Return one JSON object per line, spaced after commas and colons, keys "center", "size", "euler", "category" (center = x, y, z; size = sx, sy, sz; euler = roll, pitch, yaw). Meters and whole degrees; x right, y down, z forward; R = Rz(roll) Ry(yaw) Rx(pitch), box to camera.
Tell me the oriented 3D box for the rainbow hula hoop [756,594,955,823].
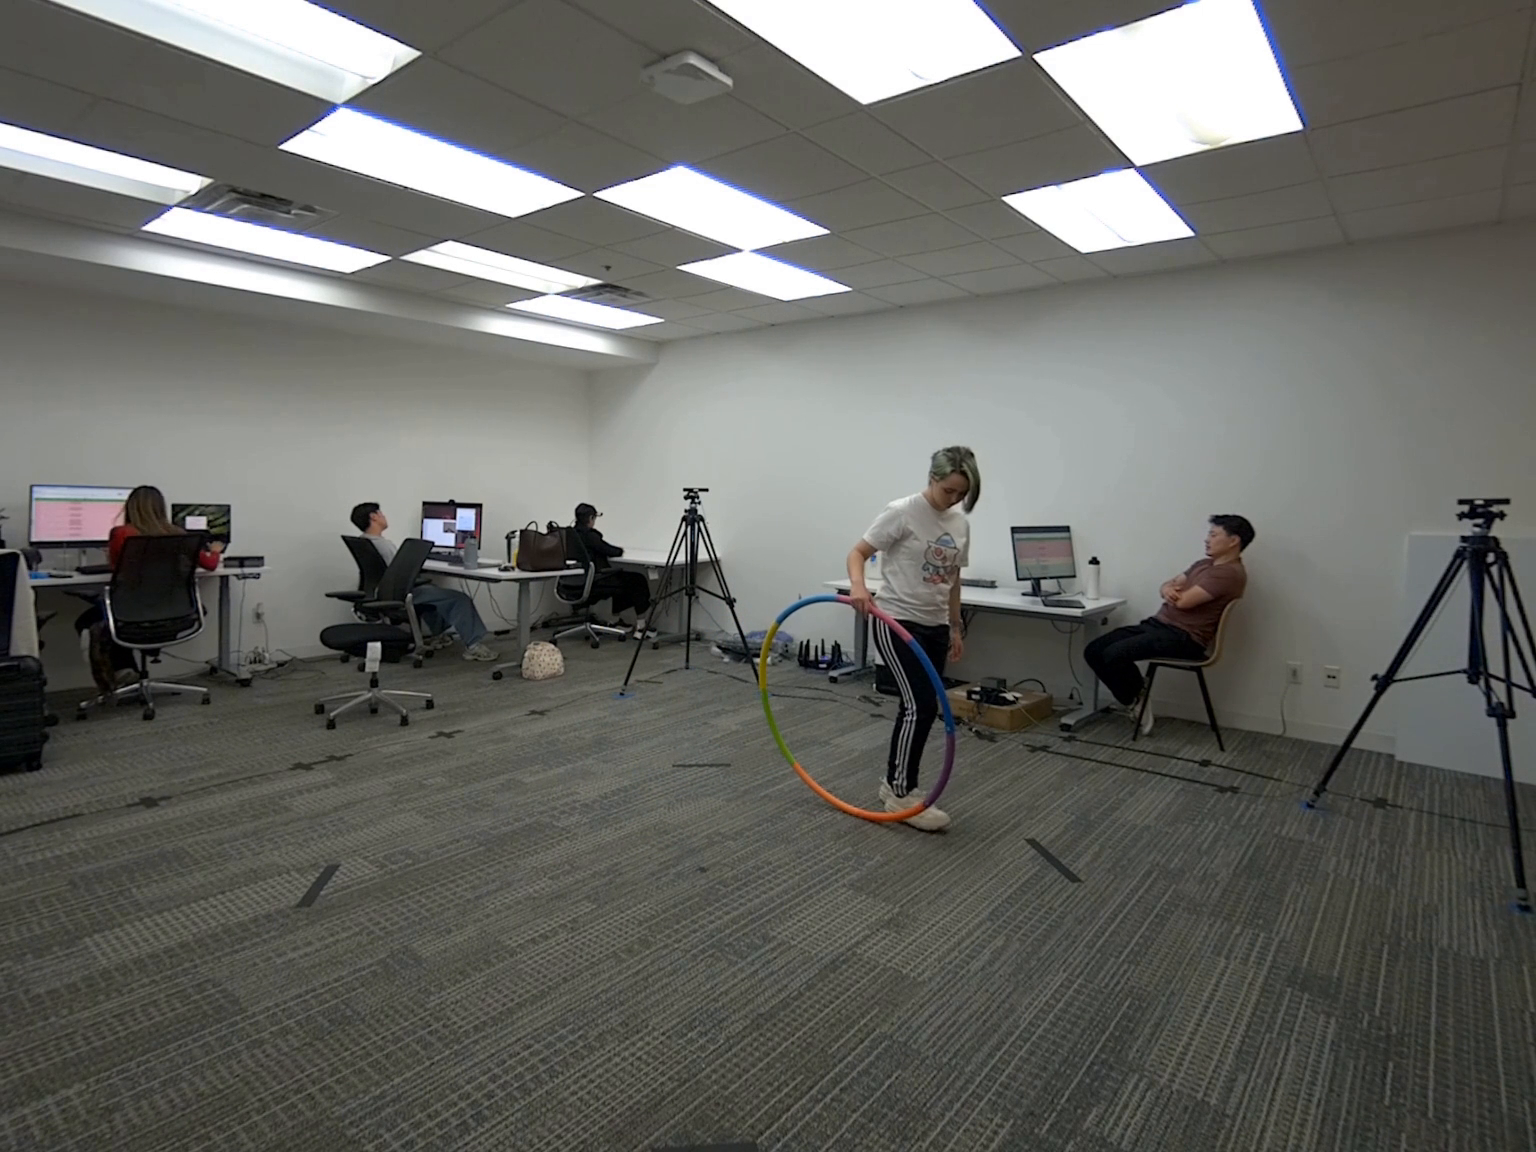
{"center": [0.330, 0.545, 3.573], "size": [1.012, 0.968, 0.035], "euler": [5, 15, 44], "category": "rainbow hula hoop"}
